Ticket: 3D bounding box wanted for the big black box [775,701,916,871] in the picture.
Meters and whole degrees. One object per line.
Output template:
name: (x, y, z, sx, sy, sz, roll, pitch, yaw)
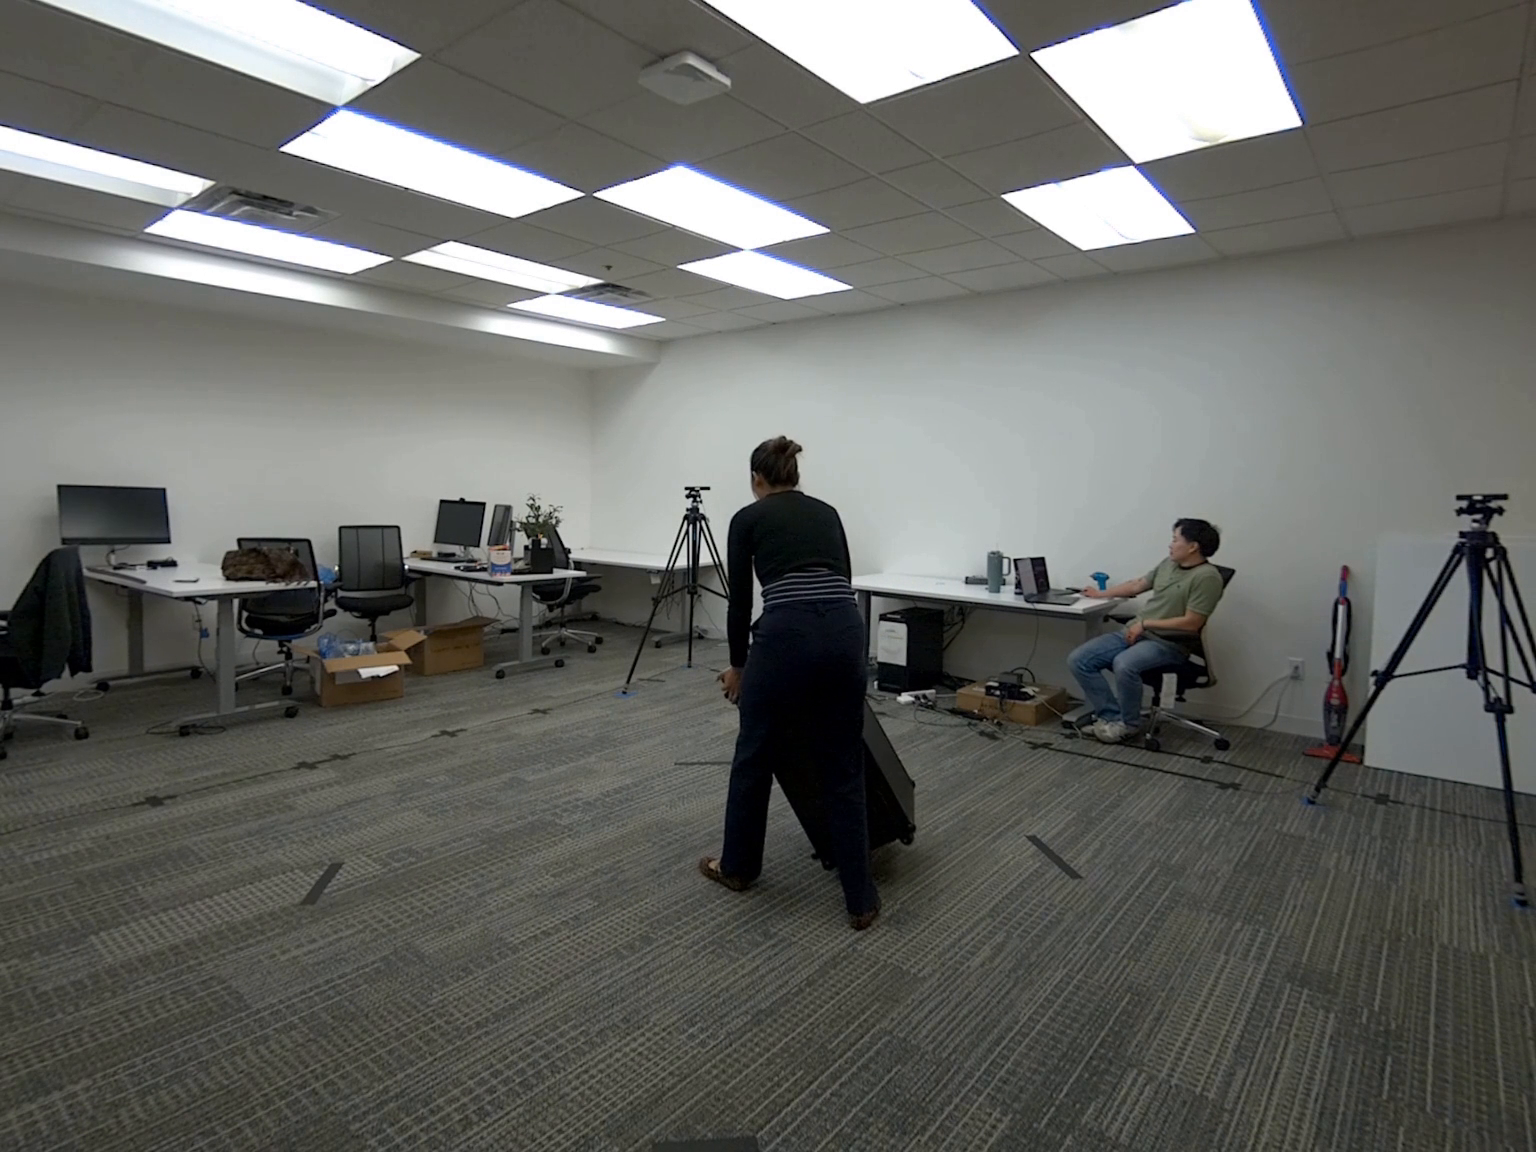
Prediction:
big black box: (0.209, 0.638, 3.244, 0.398, 0.866, 0.516, -30, -3, 12)
